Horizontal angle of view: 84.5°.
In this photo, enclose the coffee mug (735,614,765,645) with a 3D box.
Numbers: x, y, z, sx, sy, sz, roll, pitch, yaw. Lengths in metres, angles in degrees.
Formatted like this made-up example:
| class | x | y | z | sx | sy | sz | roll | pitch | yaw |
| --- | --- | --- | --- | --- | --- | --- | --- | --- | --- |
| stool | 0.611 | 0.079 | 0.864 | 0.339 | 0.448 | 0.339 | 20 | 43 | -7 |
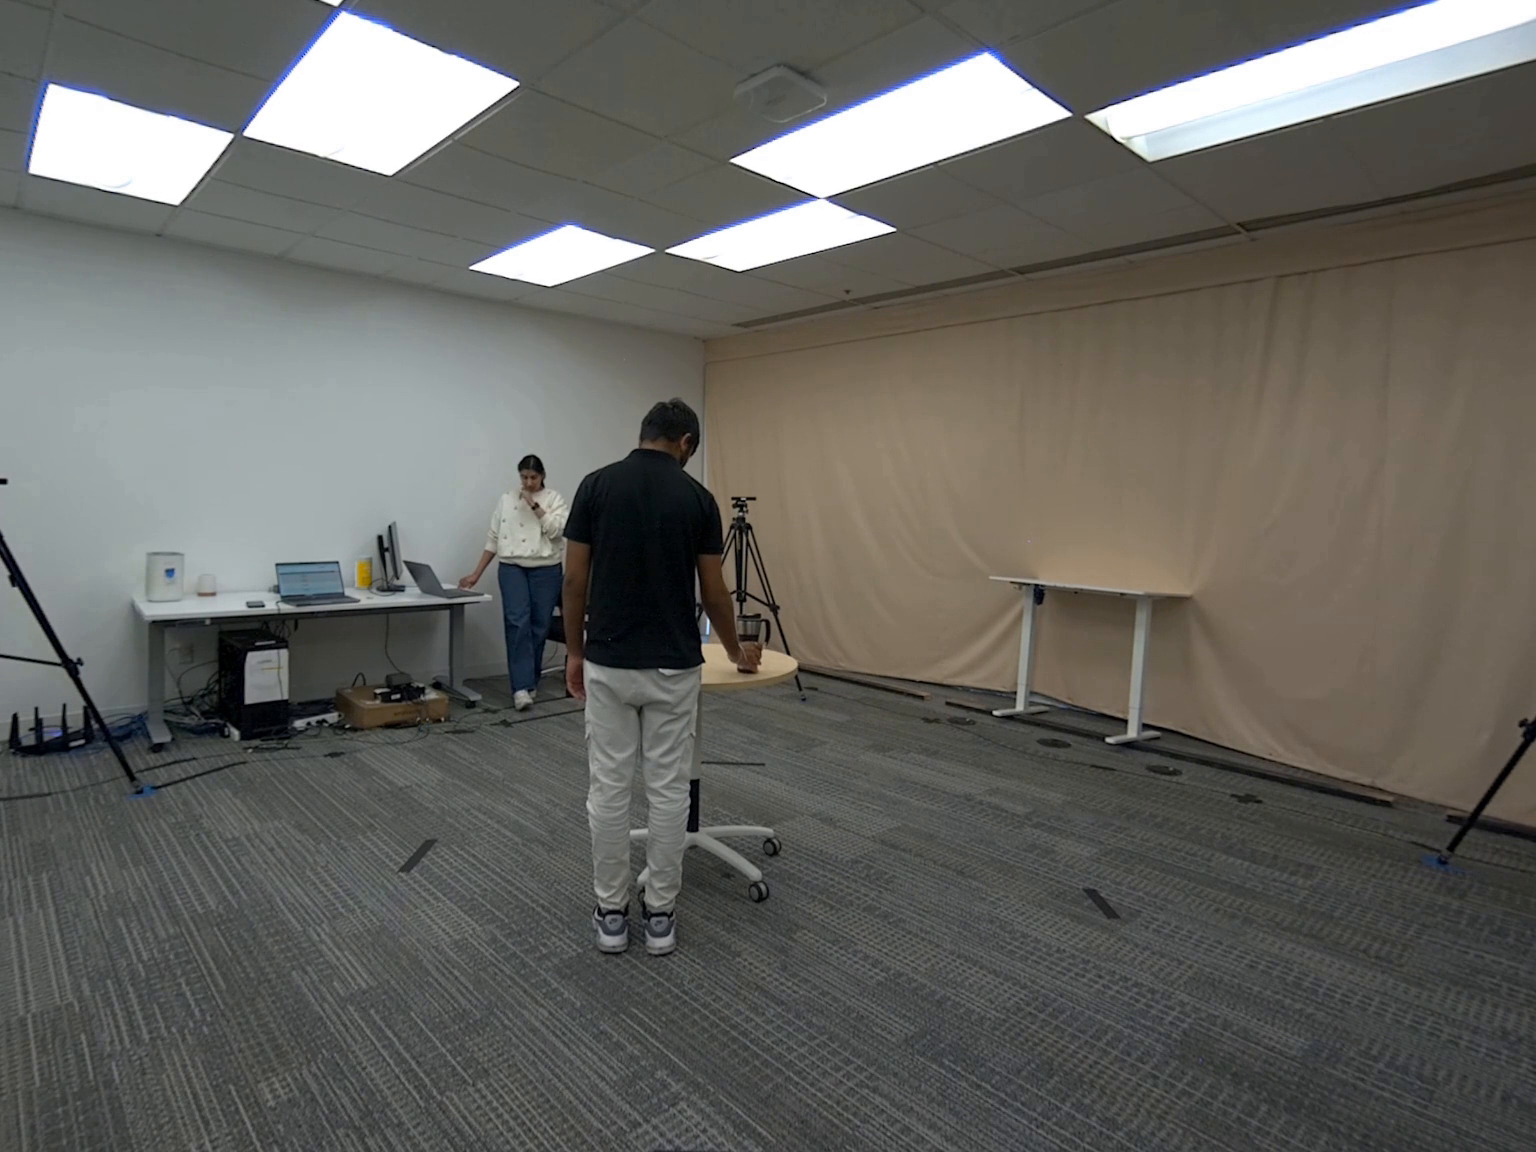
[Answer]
| class | x | y | z | sx | sy | sz | roll | pitch | yaw |
| --- | --- | --- | --- | --- | --- | --- | --- | --- | --- |
| coffee mug | -0.052 | 0.235 | 2.947 | 0.121 | 0.203 | 0.088 | -1 | 0 | -4 |
